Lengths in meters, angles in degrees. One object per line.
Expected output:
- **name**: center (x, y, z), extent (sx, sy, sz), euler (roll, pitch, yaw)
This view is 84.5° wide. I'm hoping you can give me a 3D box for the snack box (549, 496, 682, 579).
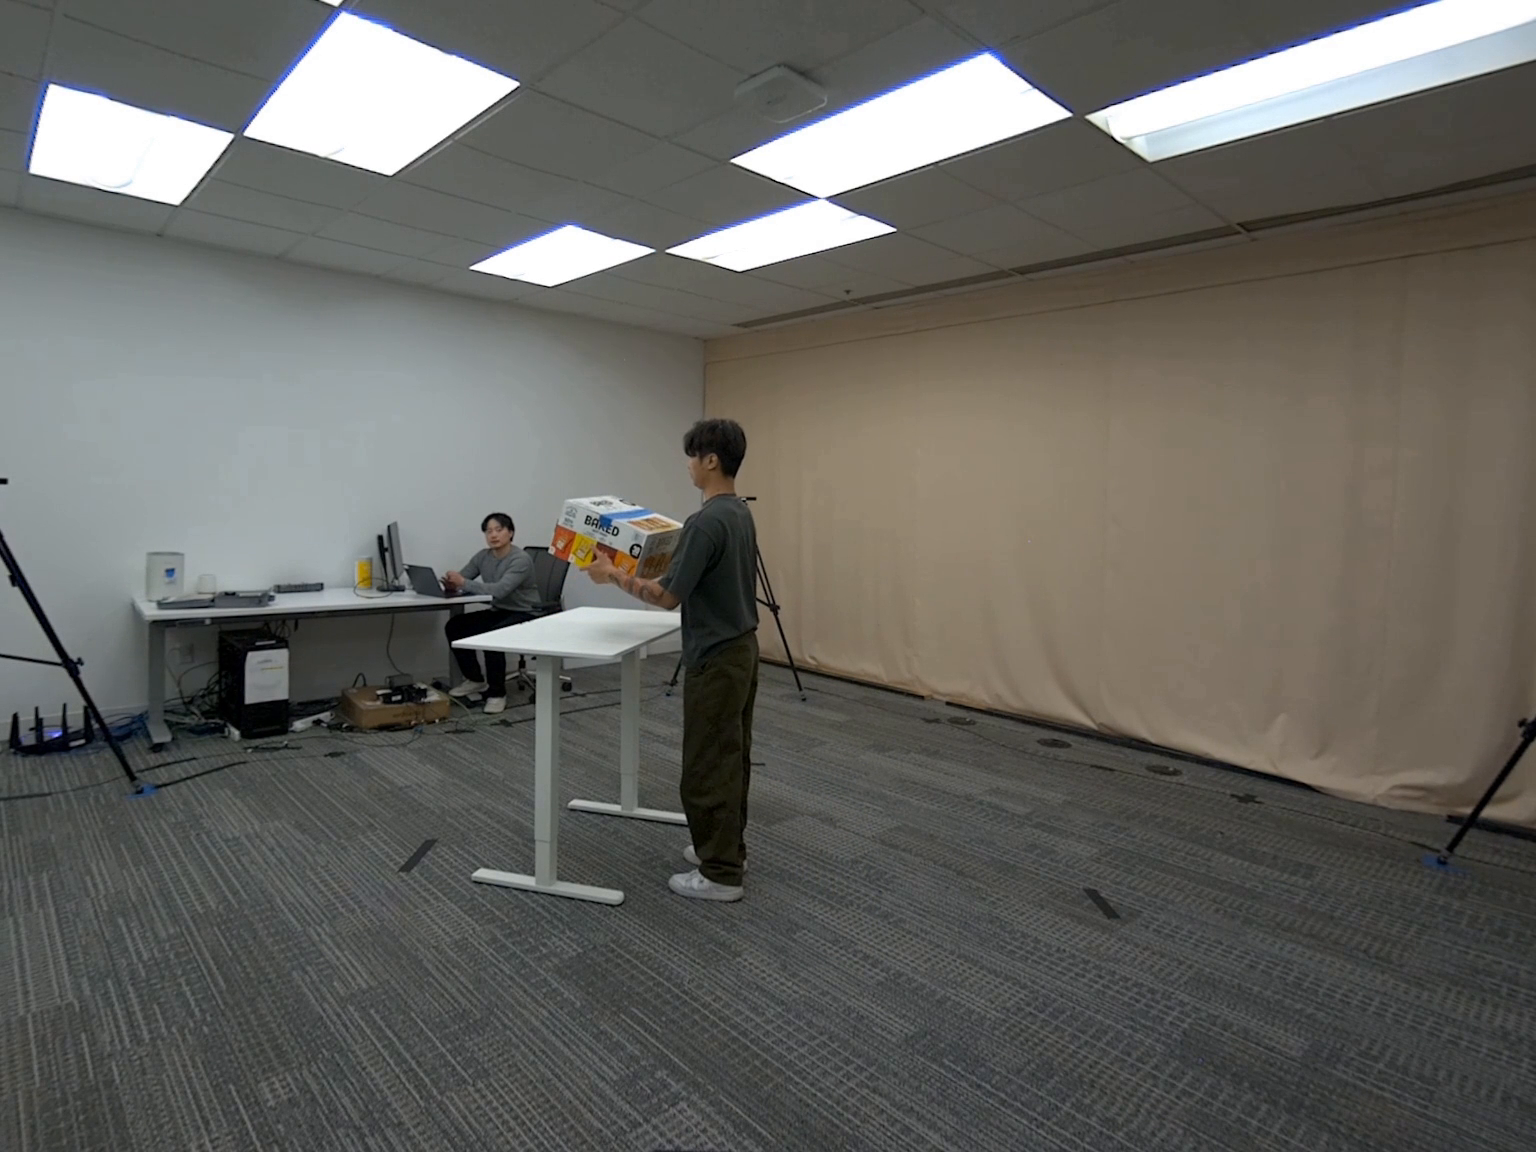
- **snack box**: center (-0.548, -0.139, 3.127), extent (0.345, 0.205, 0.401), euler (22, 11, 12)
